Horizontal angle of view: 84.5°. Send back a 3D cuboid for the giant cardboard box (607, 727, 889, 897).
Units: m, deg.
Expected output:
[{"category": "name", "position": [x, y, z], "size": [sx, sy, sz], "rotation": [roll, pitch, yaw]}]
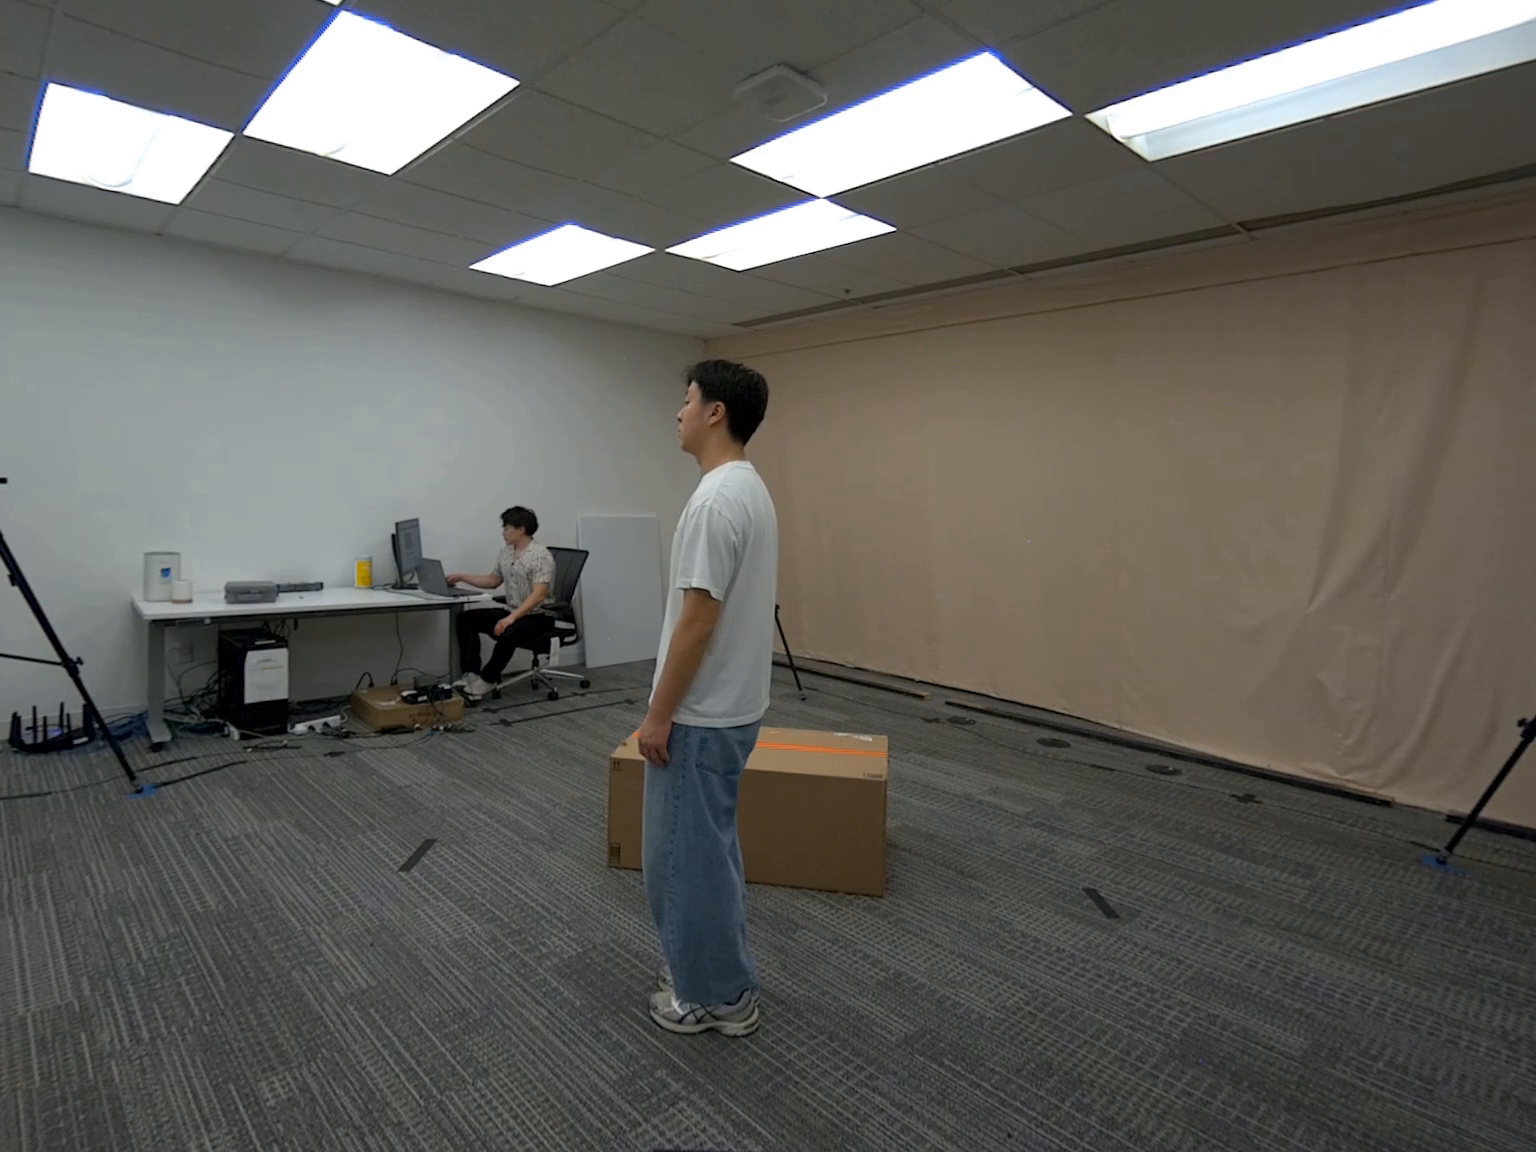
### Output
[{"category": "giant cardboard box", "position": [-0.055, 0.870, 3.315], "size": [1.034, 0.425, 0.574], "rotation": [2, 4, 10]}]
